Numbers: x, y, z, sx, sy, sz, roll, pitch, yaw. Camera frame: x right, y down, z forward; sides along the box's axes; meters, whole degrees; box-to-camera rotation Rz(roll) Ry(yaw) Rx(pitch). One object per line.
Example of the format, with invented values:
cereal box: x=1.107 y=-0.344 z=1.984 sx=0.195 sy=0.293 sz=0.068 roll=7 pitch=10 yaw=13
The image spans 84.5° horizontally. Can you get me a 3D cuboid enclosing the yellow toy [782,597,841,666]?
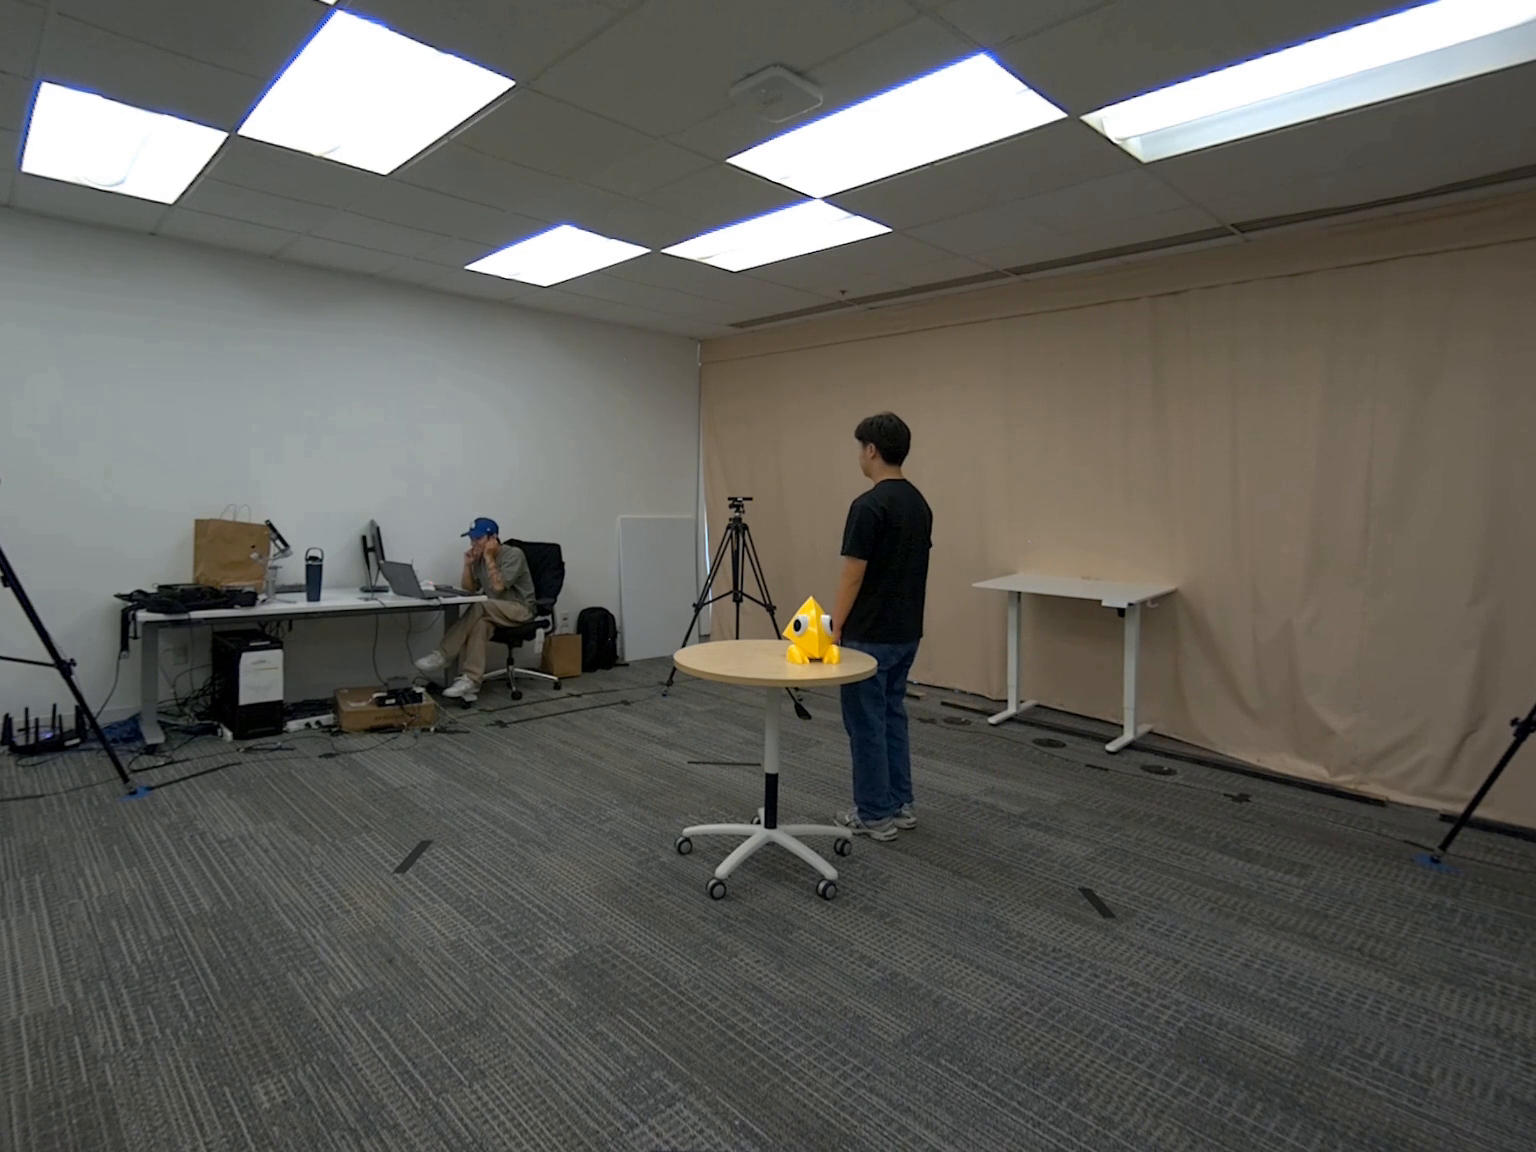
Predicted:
yellow toy: x=0.164 y=0.199 z=3.154 sx=0.204 sy=0.230 sz=0.194 roll=1 pitch=3 yaw=-7
